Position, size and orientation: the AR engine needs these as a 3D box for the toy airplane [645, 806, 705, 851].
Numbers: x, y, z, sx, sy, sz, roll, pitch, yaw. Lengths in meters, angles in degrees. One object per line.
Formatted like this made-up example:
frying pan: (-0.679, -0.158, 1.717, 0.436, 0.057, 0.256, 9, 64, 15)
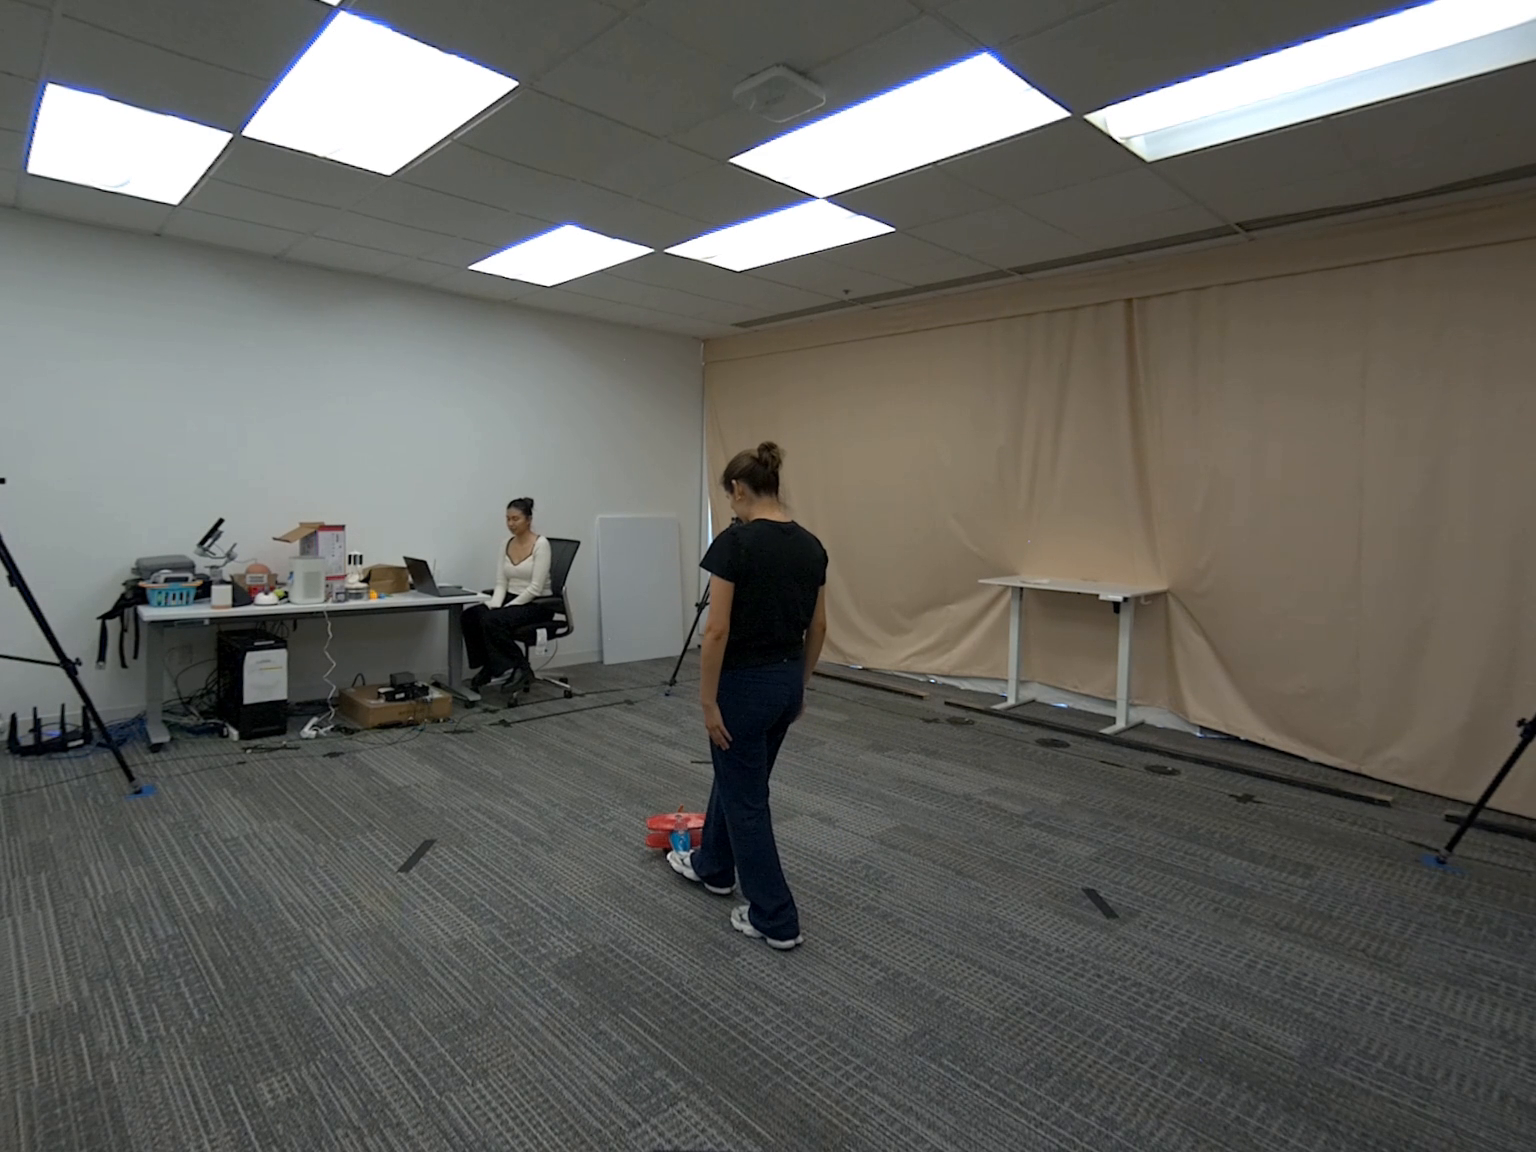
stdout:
toy airplane: (-0.329, 1.018, 3.225, 0.245, 0.156, 0.266, -2, 5, -40)
